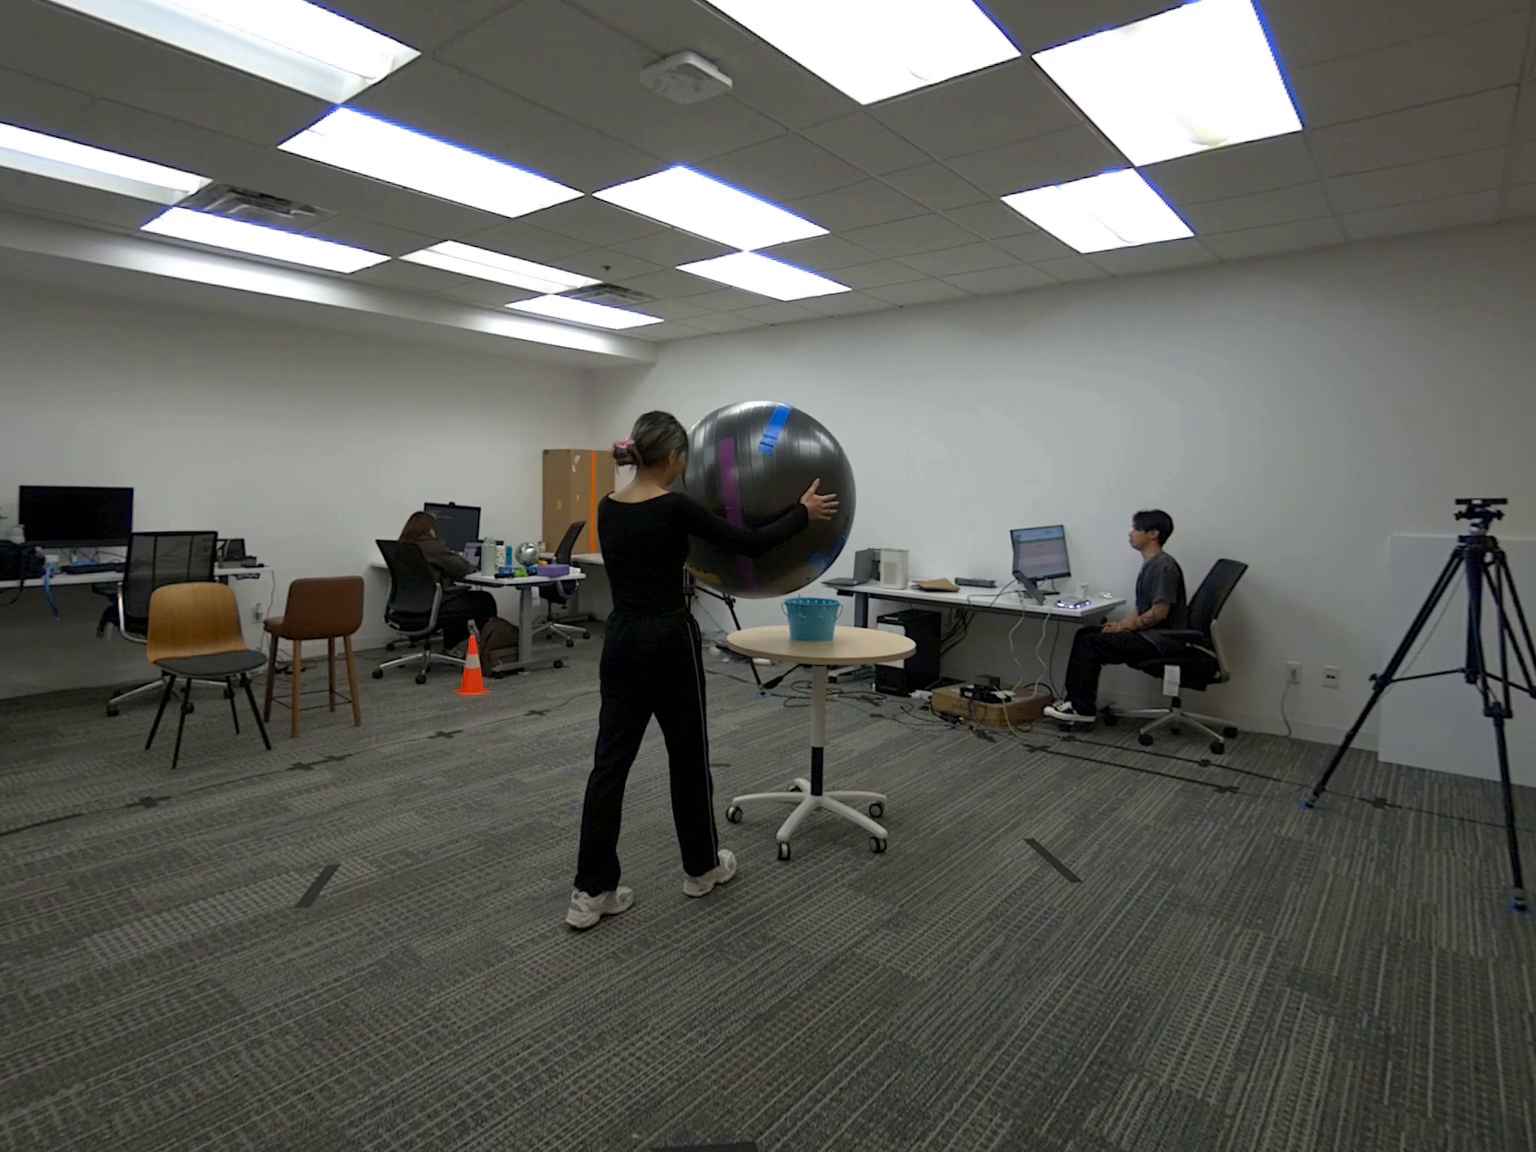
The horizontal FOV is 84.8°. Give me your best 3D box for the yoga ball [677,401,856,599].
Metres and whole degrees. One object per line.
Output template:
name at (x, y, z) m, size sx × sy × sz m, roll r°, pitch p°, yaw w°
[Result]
yoga ball at (-0.048, -0.290, 3.281) m, size 0.757 × 0.756 × 0.762 m, roll 1°, pitch 4°, yaw -2°
